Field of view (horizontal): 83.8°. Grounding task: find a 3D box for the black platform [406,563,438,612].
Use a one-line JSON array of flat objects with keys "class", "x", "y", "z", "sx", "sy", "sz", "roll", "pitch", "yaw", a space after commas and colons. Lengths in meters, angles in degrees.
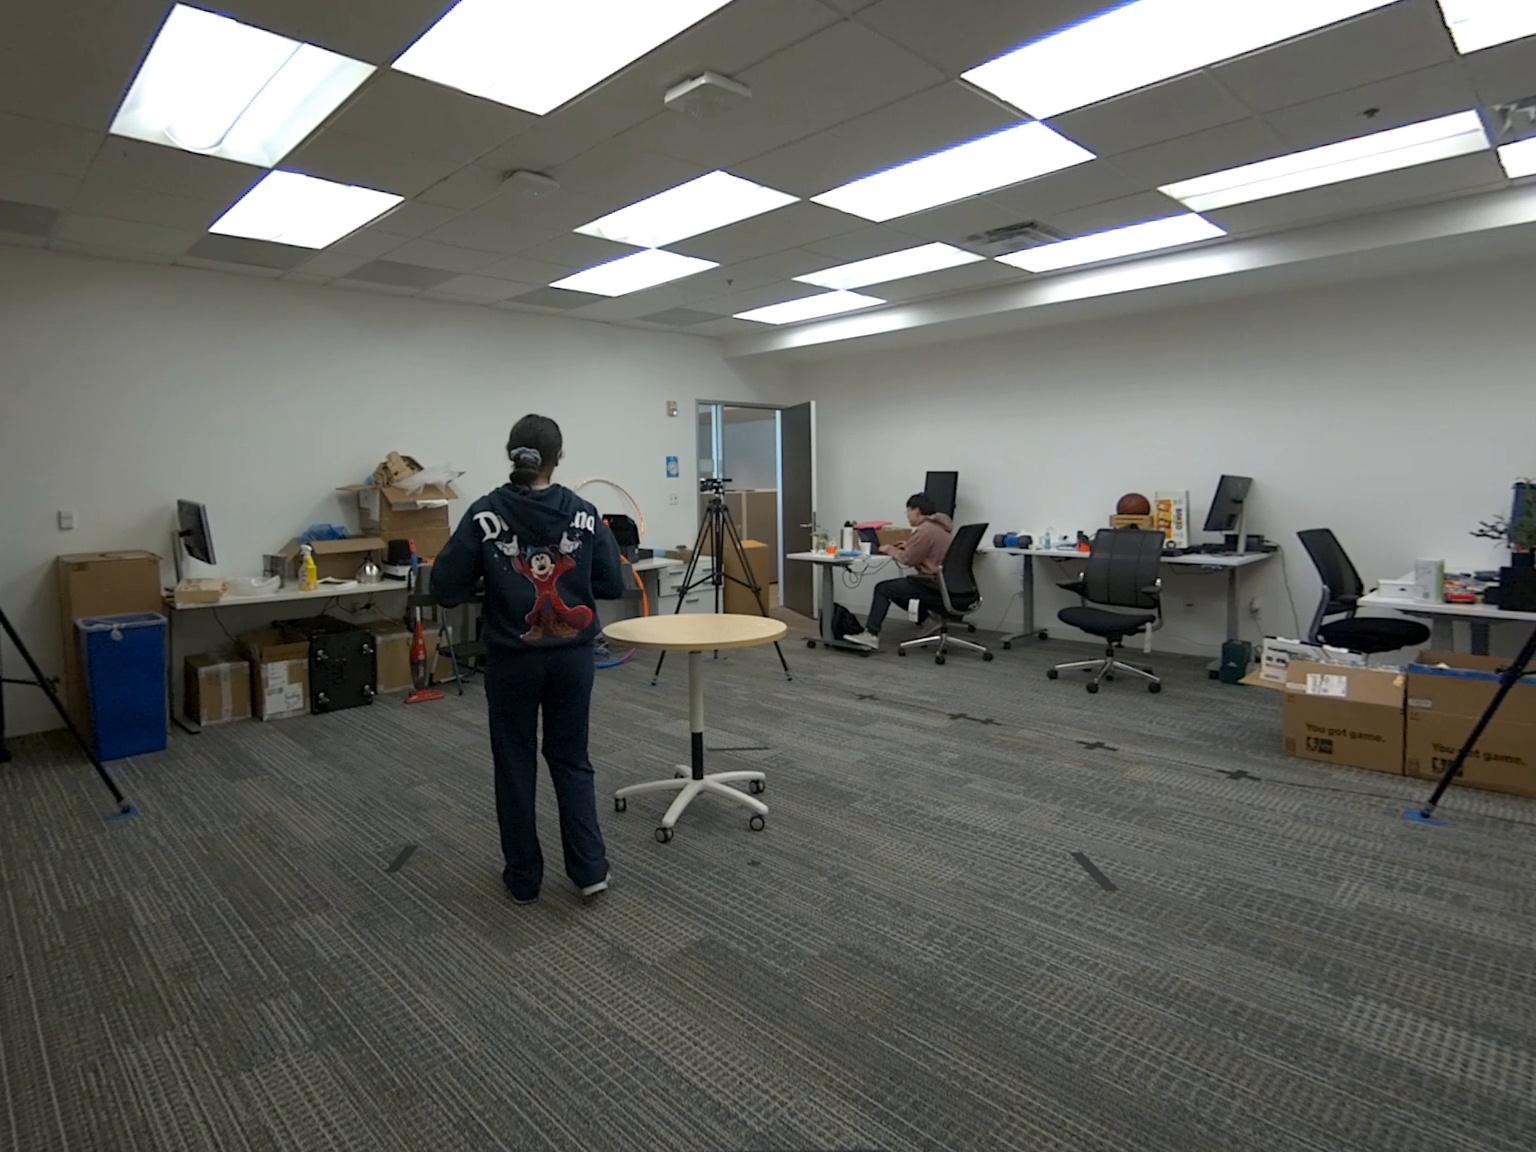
[{"class": "black platform", "x": -0.911, "y": 0.029, "z": 3.205, "sx": 0.790, "sy": 0.143, "sz": 0.616, "roll": -1, "pitch": 1, "yaw": -22}]
